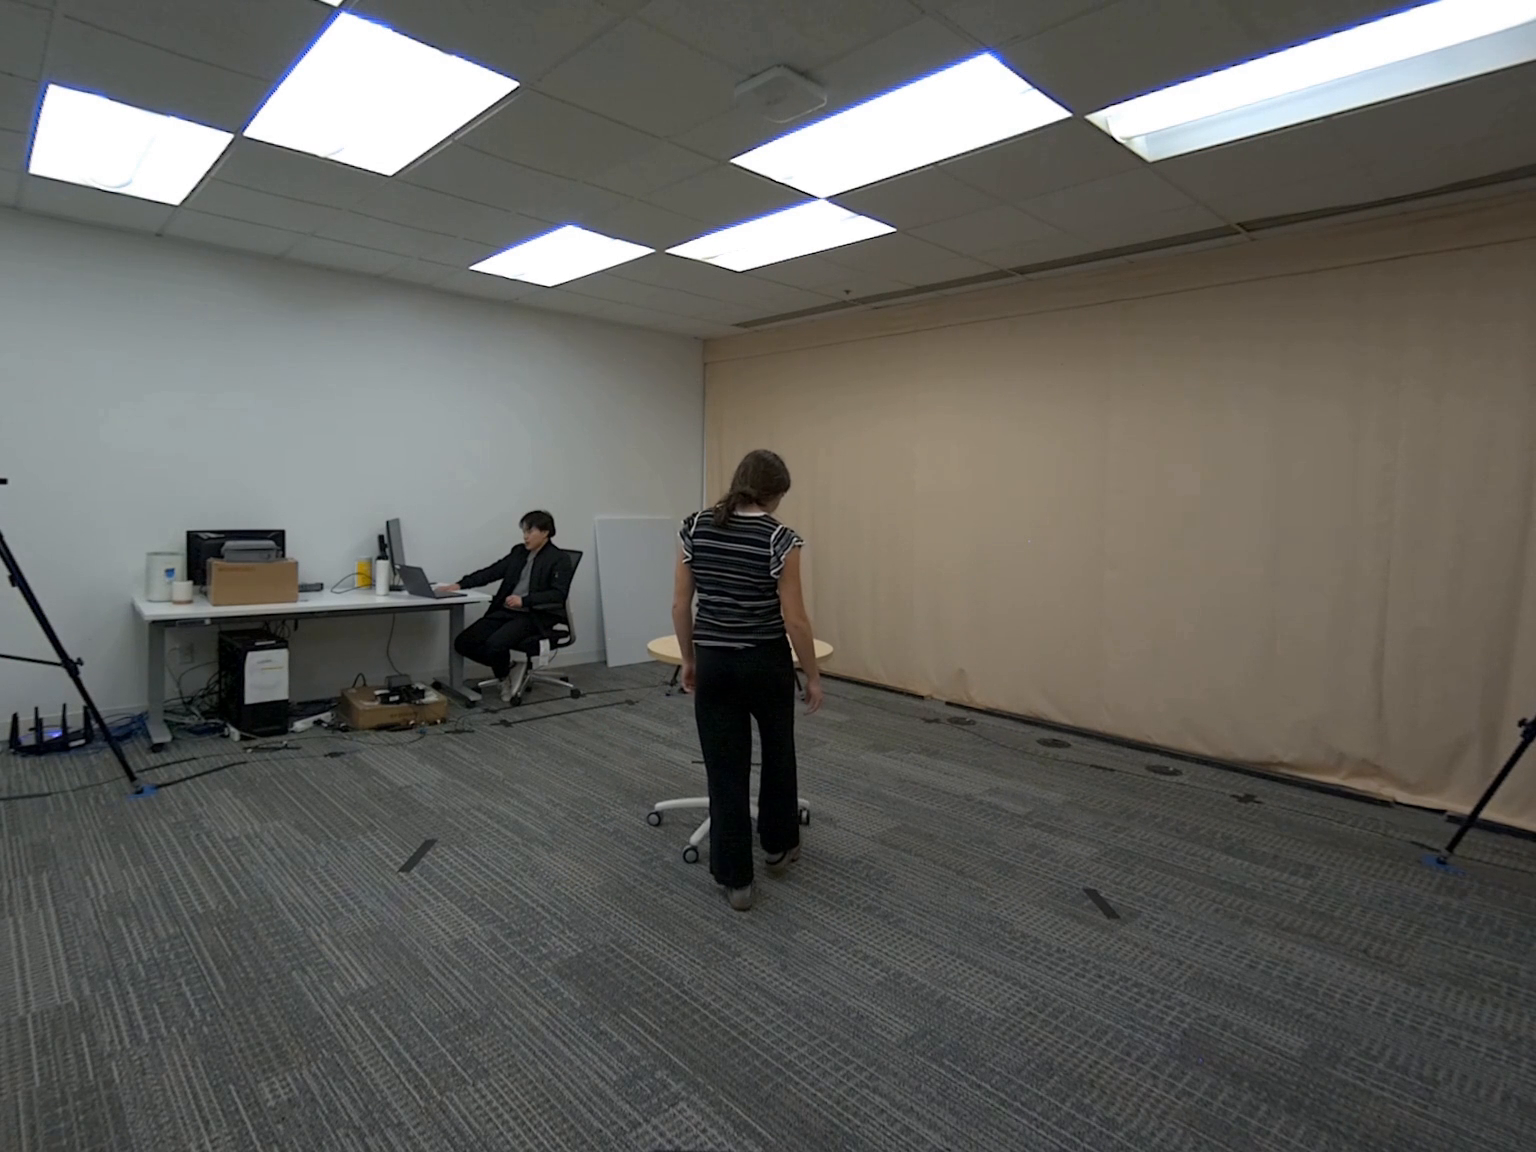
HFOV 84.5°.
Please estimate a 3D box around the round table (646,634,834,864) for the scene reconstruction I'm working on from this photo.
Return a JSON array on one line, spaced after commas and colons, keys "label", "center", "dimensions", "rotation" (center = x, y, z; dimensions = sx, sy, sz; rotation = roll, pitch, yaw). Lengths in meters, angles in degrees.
[{"label": "round table", "center": [-0.115, 0.680, 3.498], "dimensions": [0.784, 0.784, 0.788], "rotation": [1, 4, -1]}]
